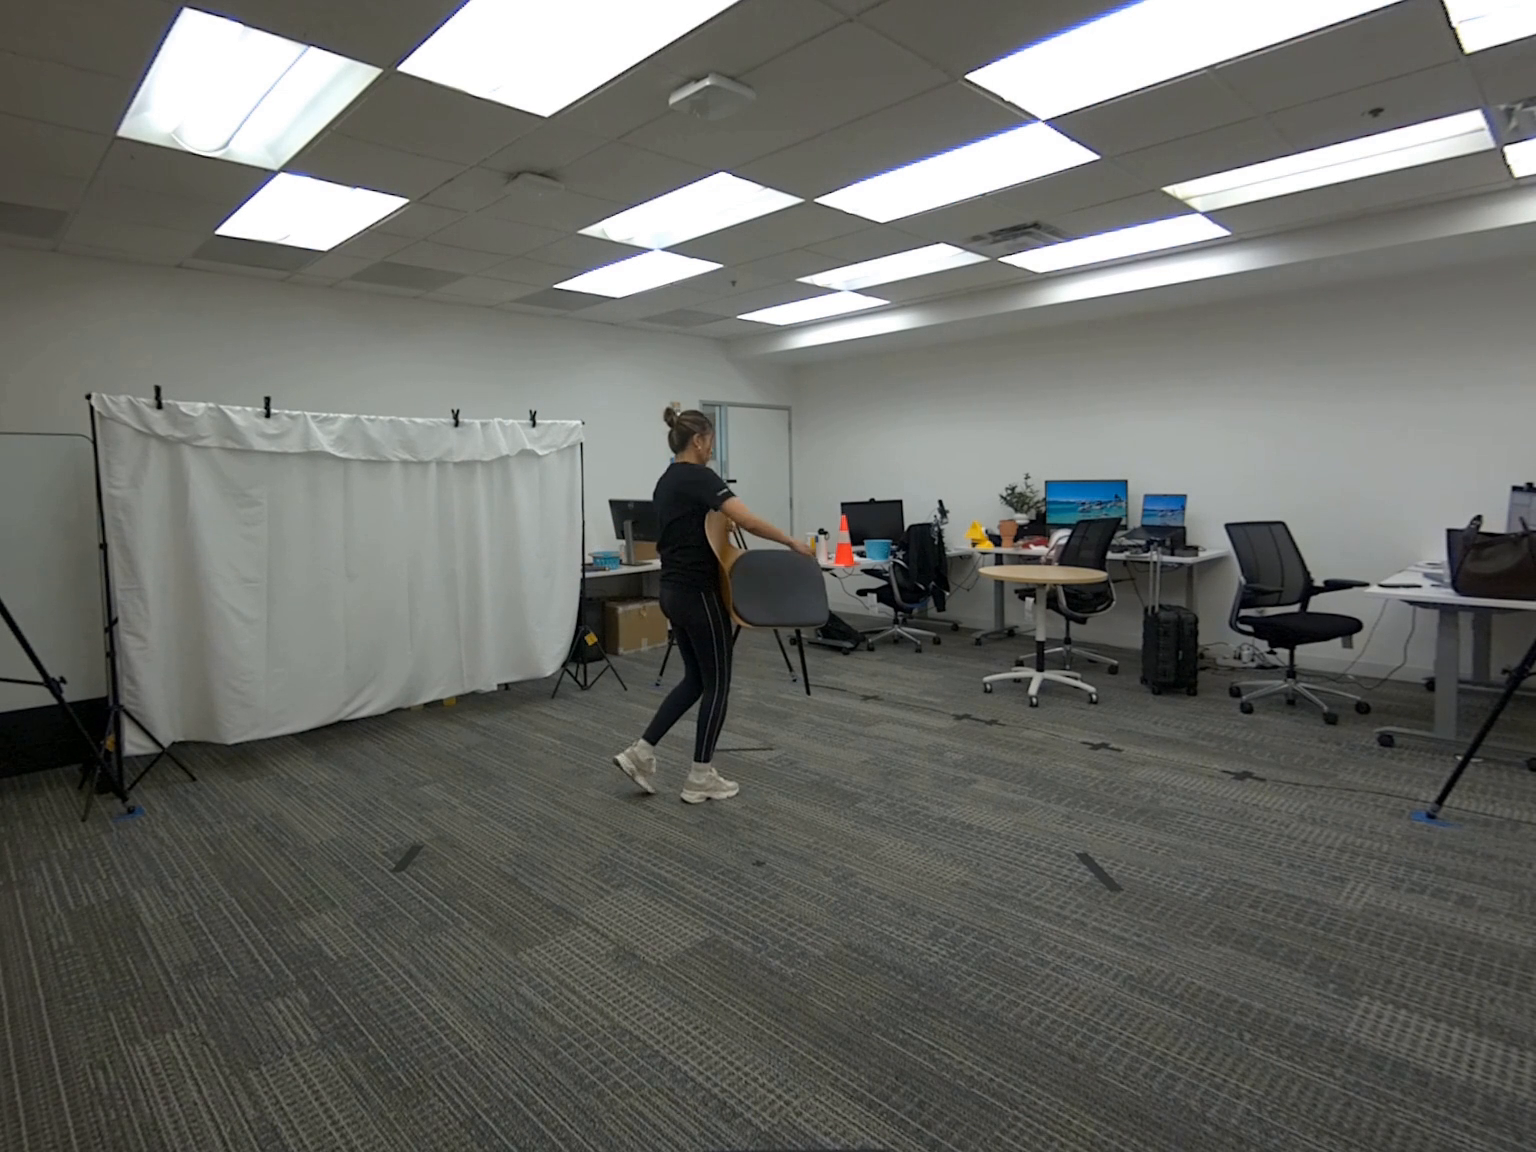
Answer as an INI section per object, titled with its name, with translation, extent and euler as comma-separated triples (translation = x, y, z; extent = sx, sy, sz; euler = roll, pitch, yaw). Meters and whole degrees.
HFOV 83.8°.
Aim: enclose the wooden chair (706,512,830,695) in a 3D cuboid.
[wooden chair]
translation = -0.005, 0.088, 3.792
extent = 0.522, 0.853, 0.492
euler = -2, 43, -2
